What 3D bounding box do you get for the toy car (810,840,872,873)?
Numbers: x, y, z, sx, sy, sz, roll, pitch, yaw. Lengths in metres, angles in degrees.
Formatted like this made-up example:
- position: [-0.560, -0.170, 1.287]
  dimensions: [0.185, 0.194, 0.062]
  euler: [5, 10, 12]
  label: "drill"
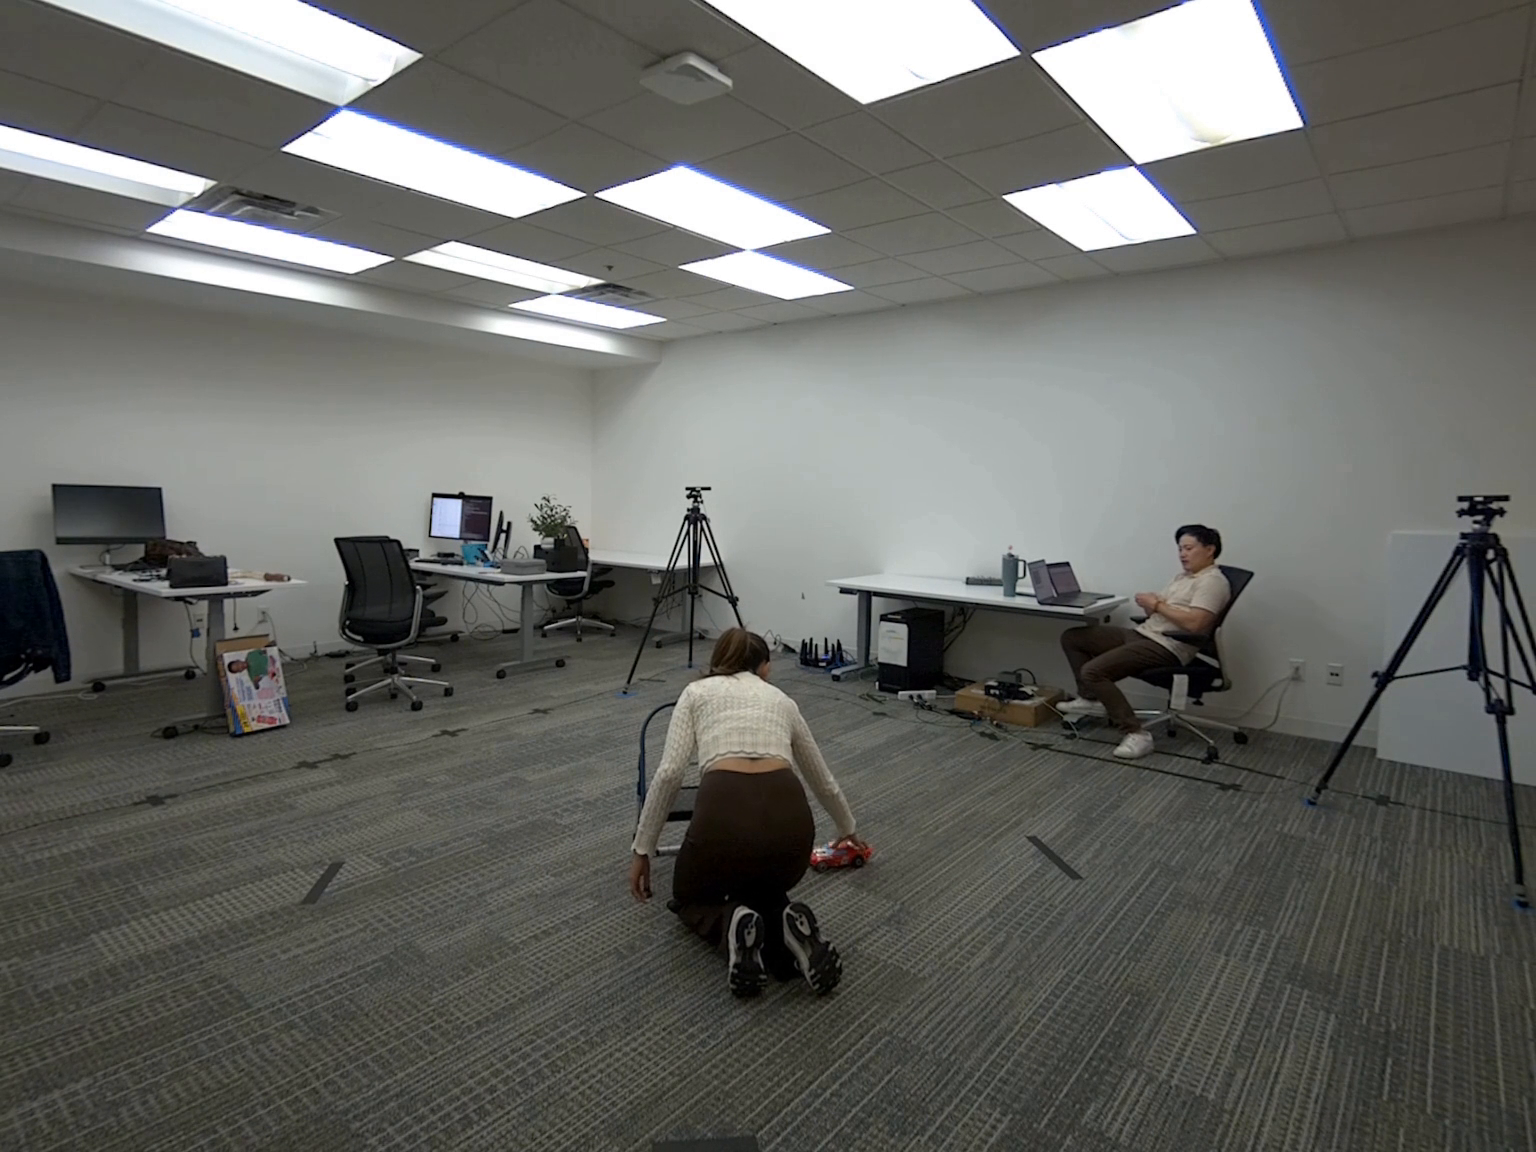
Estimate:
- position: [0.256, 1.041, 3.170]
  dimensions: [0.251, 0.082, 0.133]
  euler: [-12, 9, -14]
  label: "toy car"
